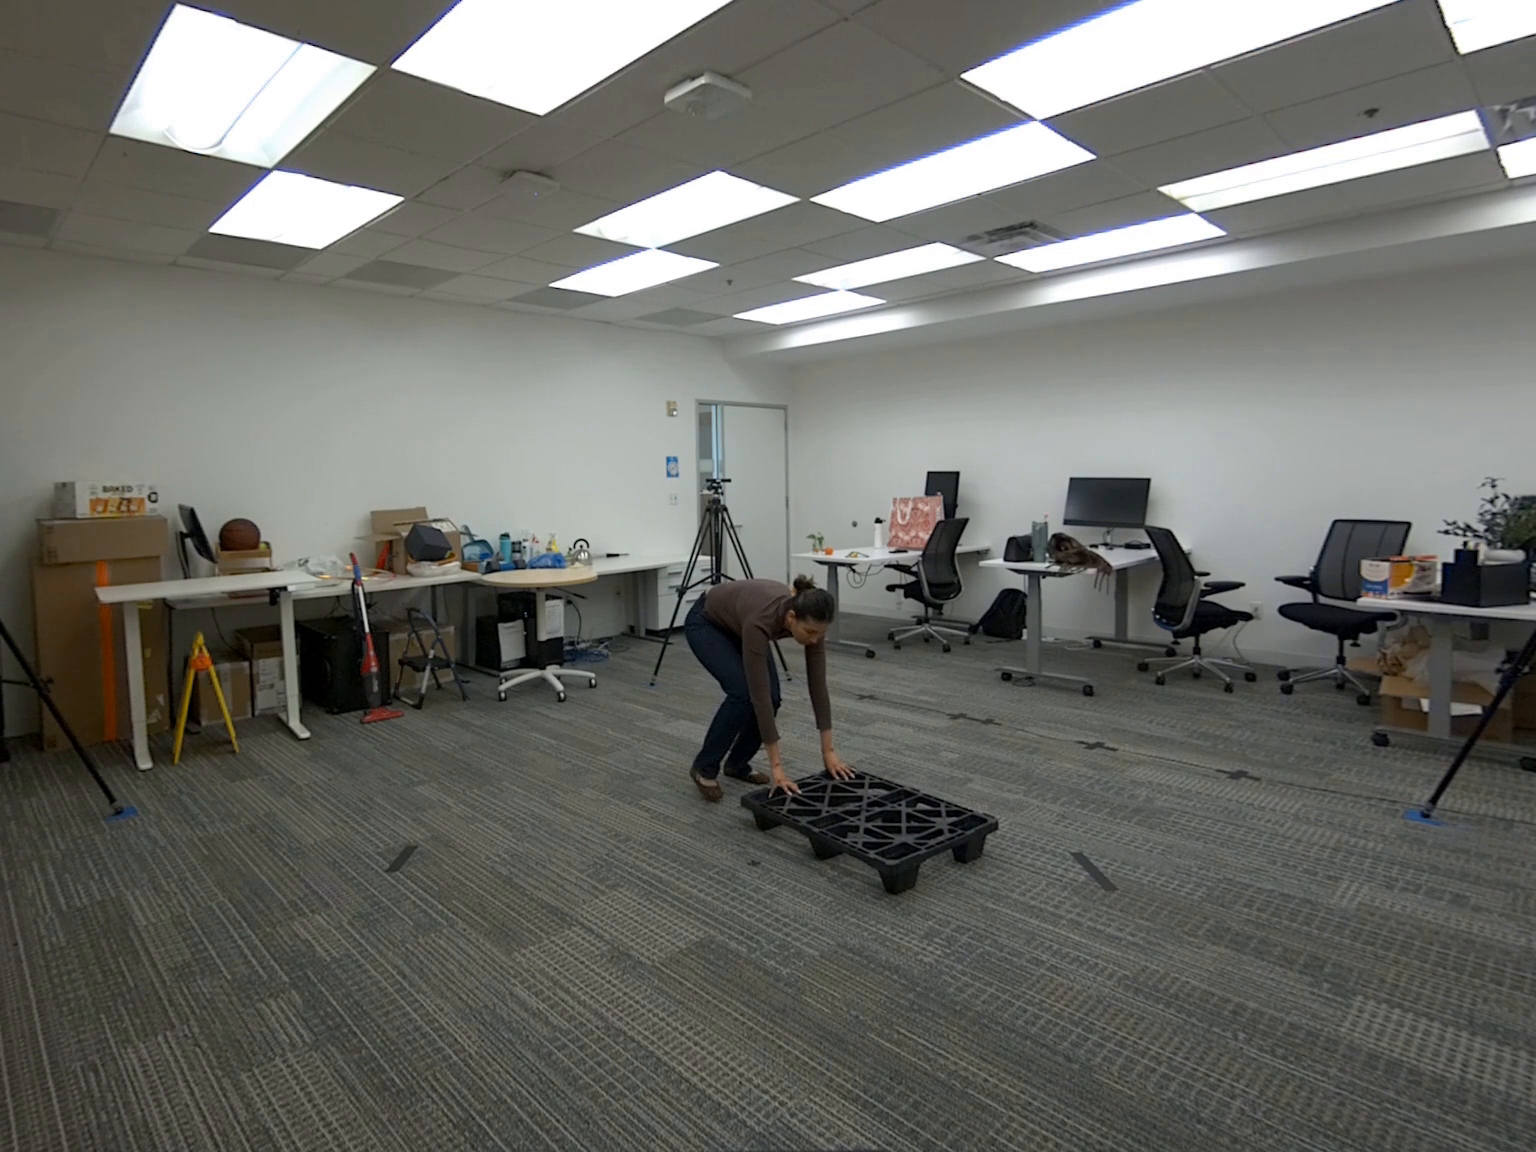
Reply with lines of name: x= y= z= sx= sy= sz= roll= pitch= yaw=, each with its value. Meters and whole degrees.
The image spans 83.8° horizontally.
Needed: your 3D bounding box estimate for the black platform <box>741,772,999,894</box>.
black platform: x=0.370 y=0.950 z=3.277 sx=0.589 sy=0.143 sz=0.830 roll=-5 pitch=8 yaw=-39
